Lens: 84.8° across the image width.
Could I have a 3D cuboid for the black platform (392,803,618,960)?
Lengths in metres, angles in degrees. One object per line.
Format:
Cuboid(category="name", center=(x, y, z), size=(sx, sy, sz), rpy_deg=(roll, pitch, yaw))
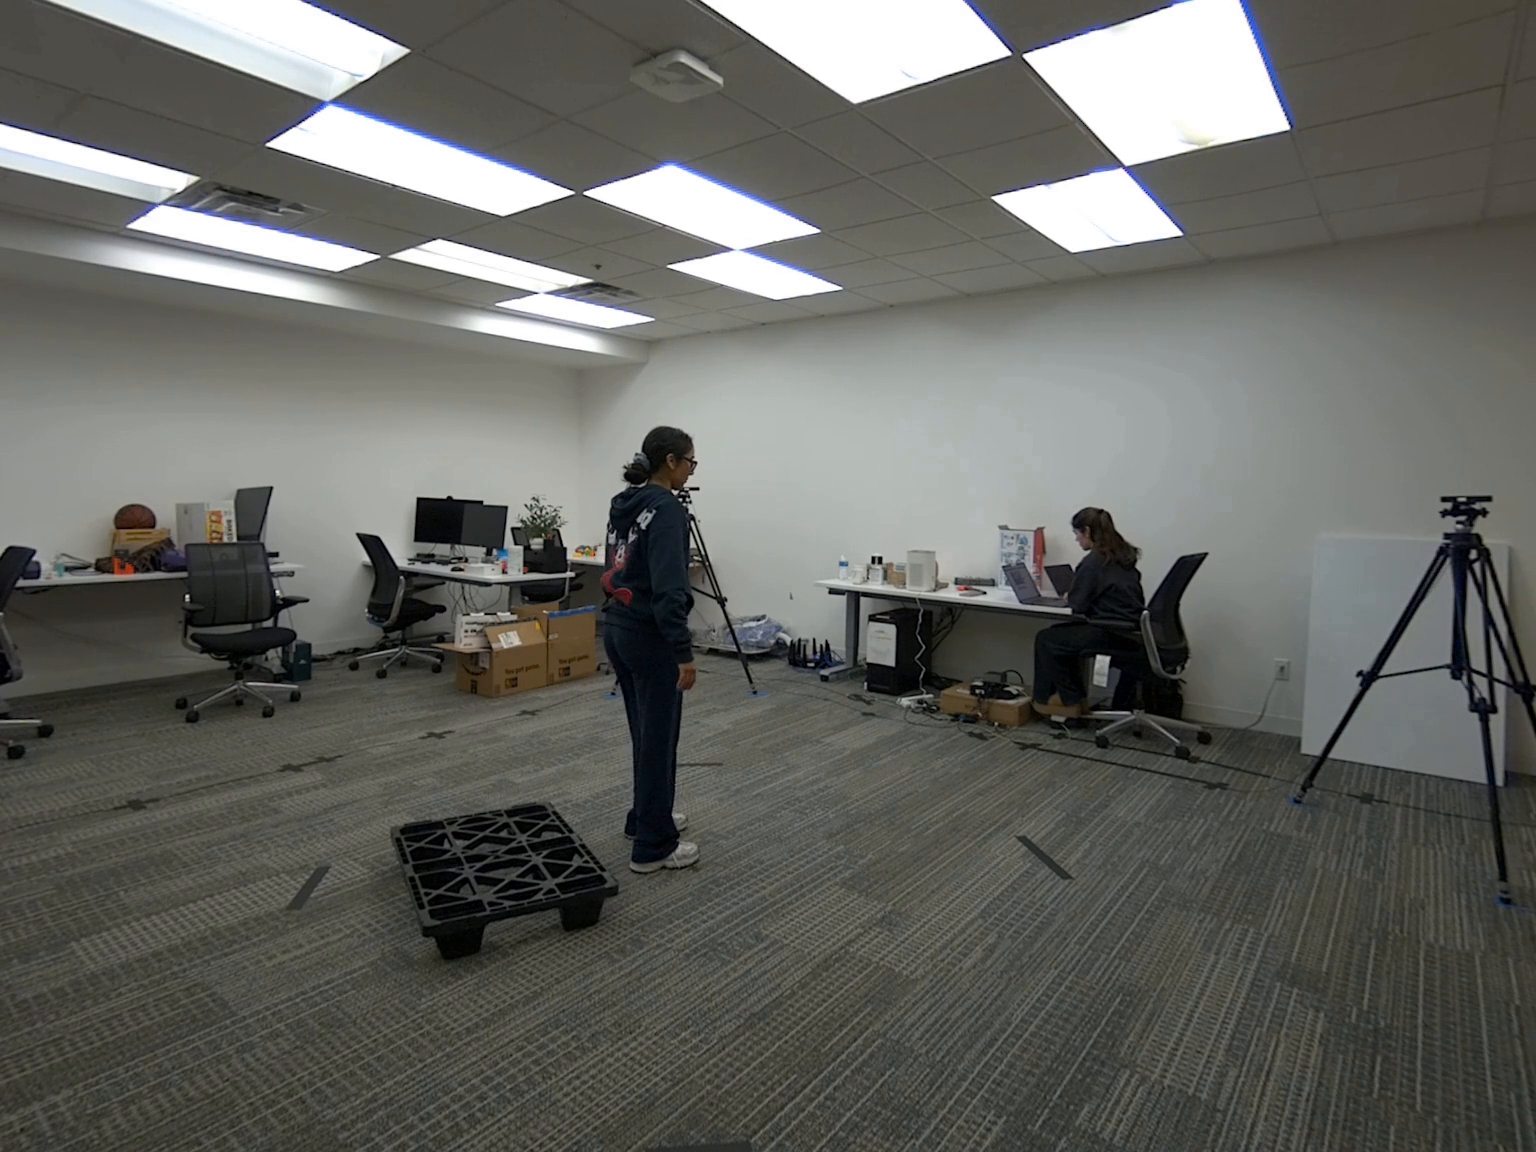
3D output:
Cuboid(category="black platform", center=(-0.937, 1.010, 2.909), size=(0.589, 0.143, 0.830), rpy_deg=(-2, 6, -29))
